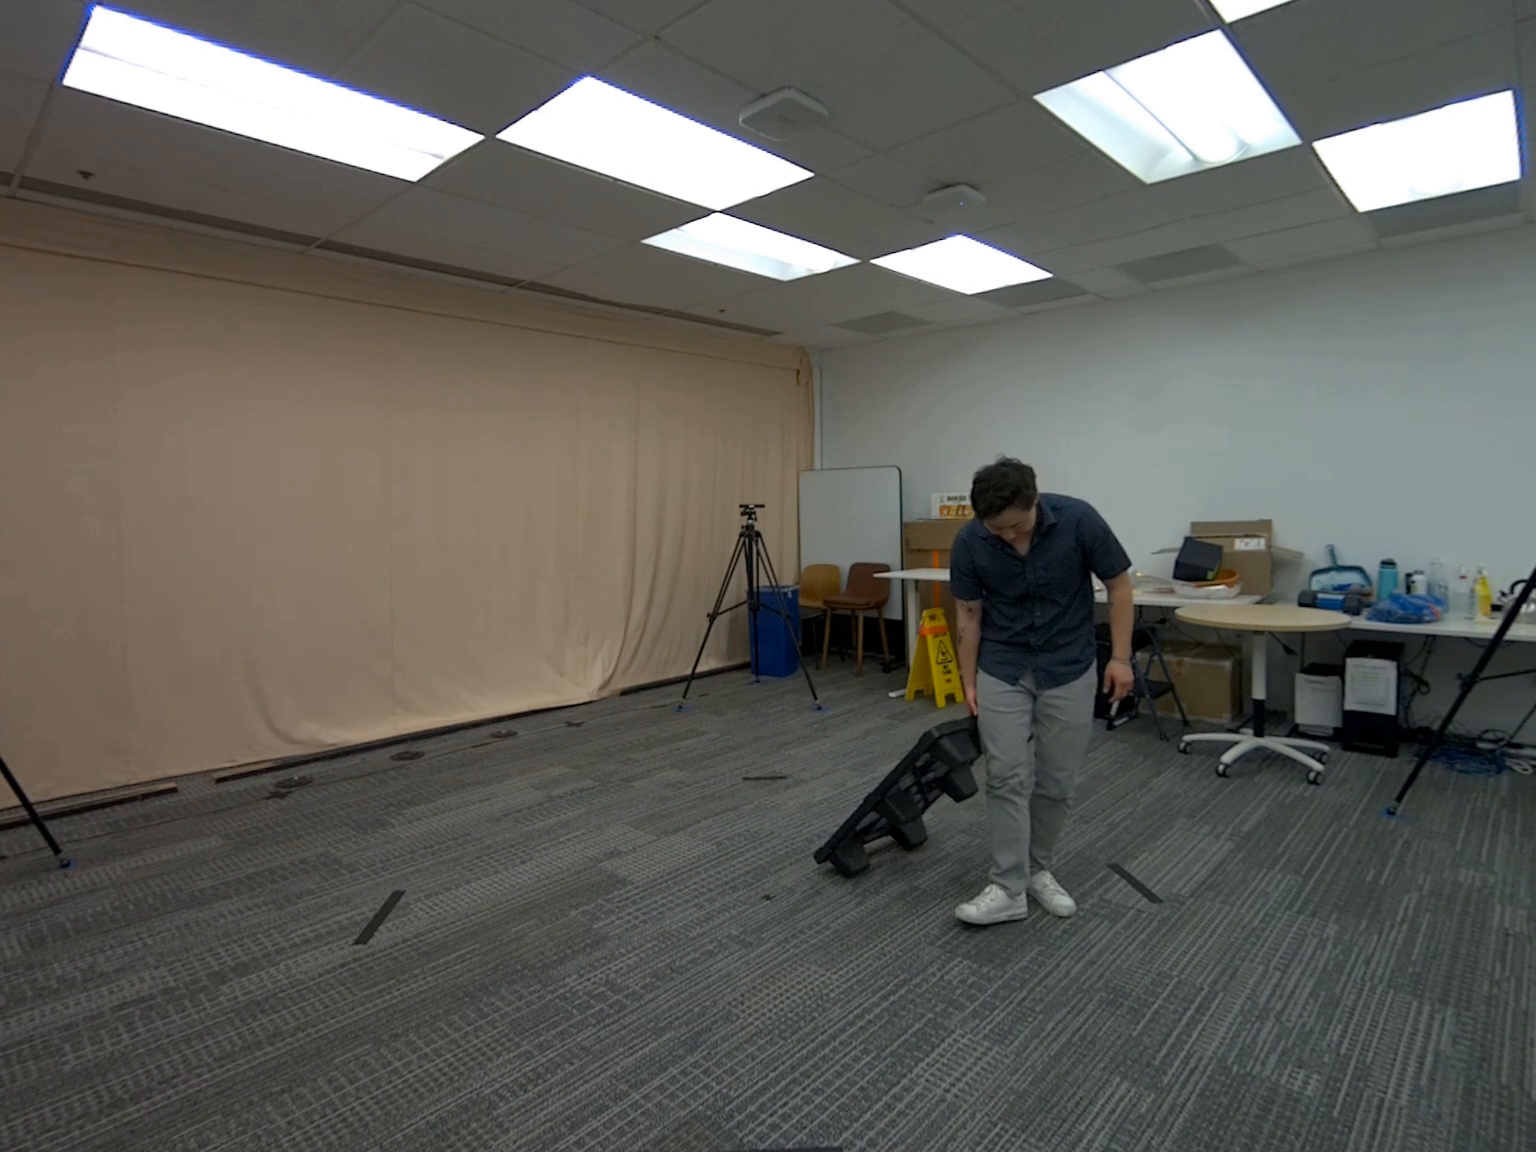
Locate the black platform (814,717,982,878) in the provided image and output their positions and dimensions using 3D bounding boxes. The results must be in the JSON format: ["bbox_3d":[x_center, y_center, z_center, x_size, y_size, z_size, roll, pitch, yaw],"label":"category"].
[{"bbox_3d":[0.596,0.801,3.112,0.586,0.806,0.148,-3,46,-43],"label":"black platform"}]
